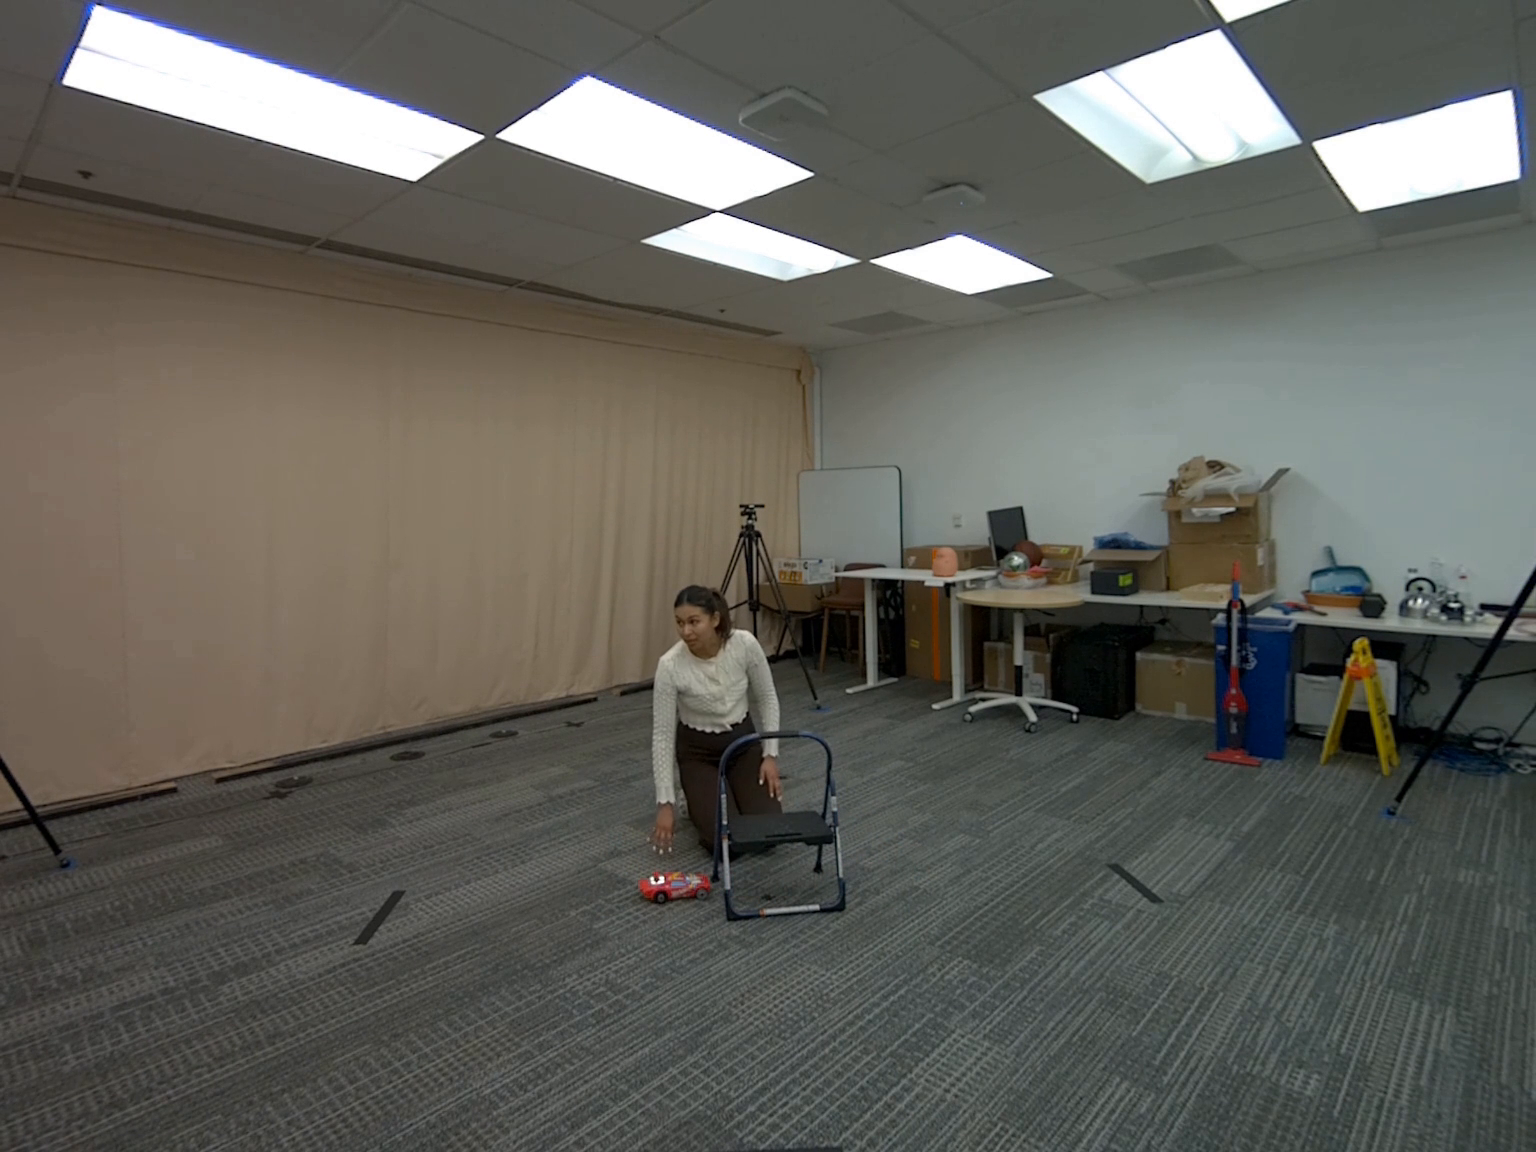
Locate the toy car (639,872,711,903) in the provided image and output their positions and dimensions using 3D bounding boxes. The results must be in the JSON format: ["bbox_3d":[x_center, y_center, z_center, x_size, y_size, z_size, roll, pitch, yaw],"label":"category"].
[{"bbox_3d":[-0.341,1.105,3.018,0.252,0.083,0.132,9,2,-10],"label":"toy car"}]
